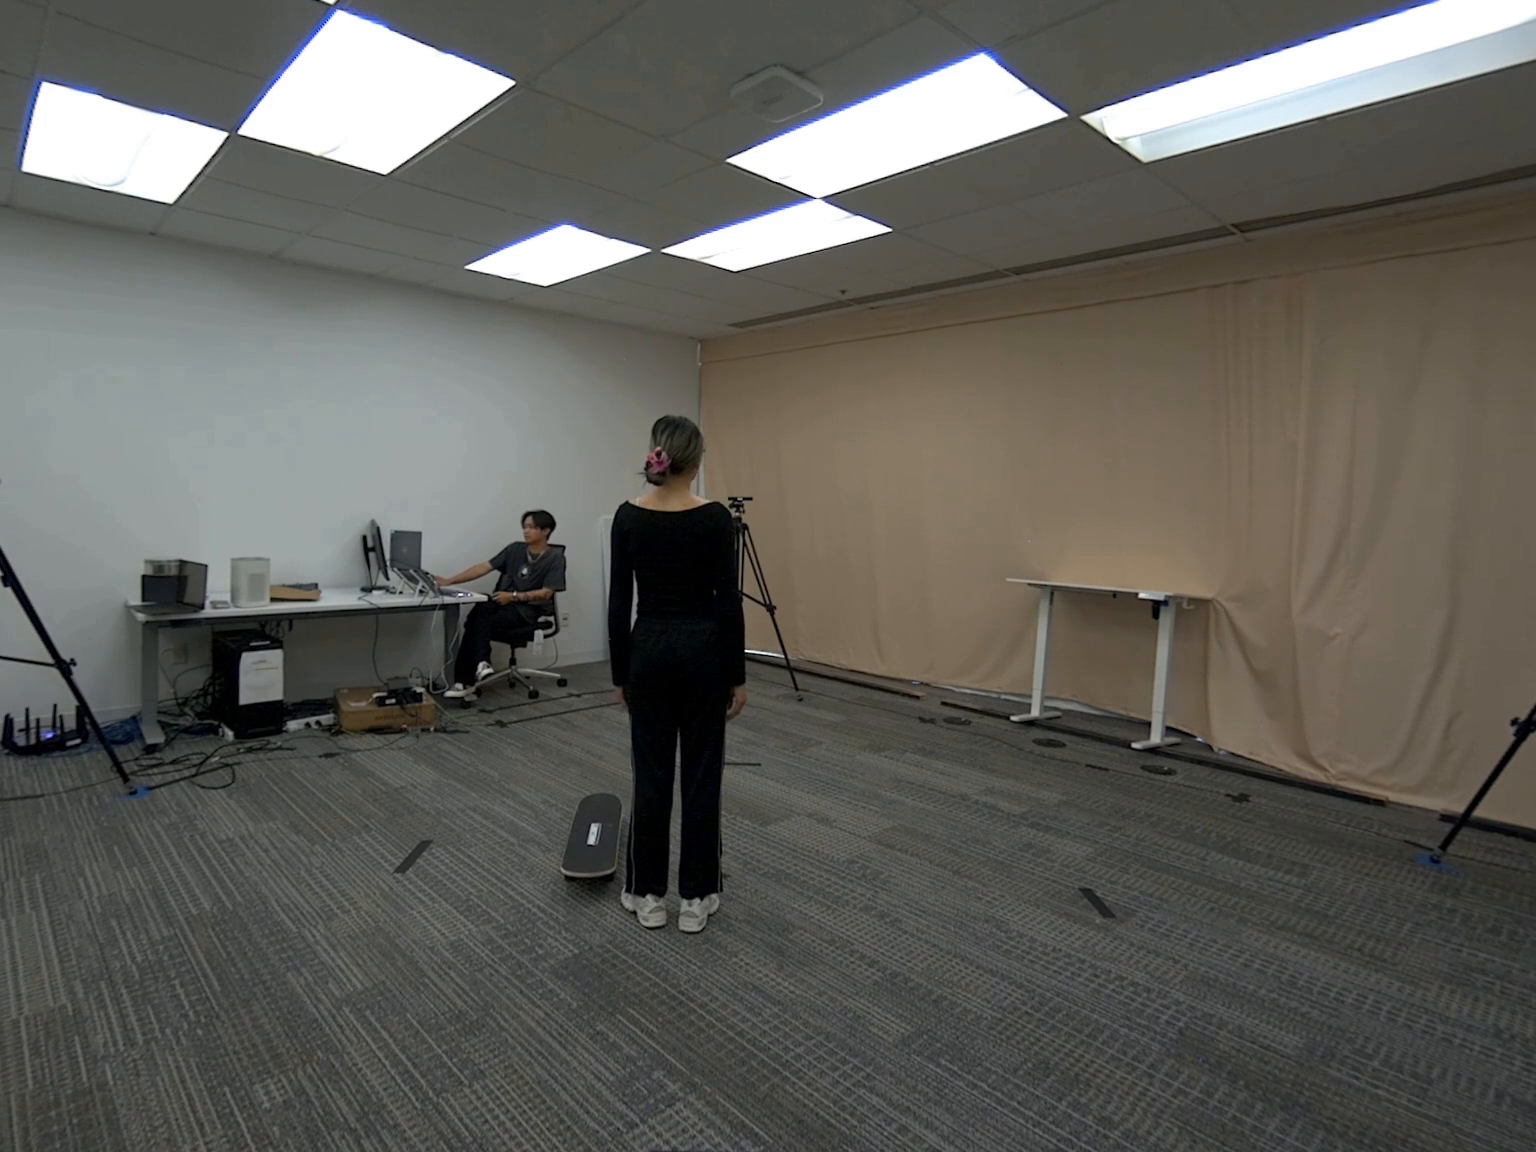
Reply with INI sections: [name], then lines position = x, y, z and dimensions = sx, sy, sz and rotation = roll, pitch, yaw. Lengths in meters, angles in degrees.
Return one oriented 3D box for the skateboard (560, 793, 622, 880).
[skateboard]
position = -0.678, 1.027, 3.246
dimensions = 0.192, 0.110, 0.791
rotation = 1, 5, -7
